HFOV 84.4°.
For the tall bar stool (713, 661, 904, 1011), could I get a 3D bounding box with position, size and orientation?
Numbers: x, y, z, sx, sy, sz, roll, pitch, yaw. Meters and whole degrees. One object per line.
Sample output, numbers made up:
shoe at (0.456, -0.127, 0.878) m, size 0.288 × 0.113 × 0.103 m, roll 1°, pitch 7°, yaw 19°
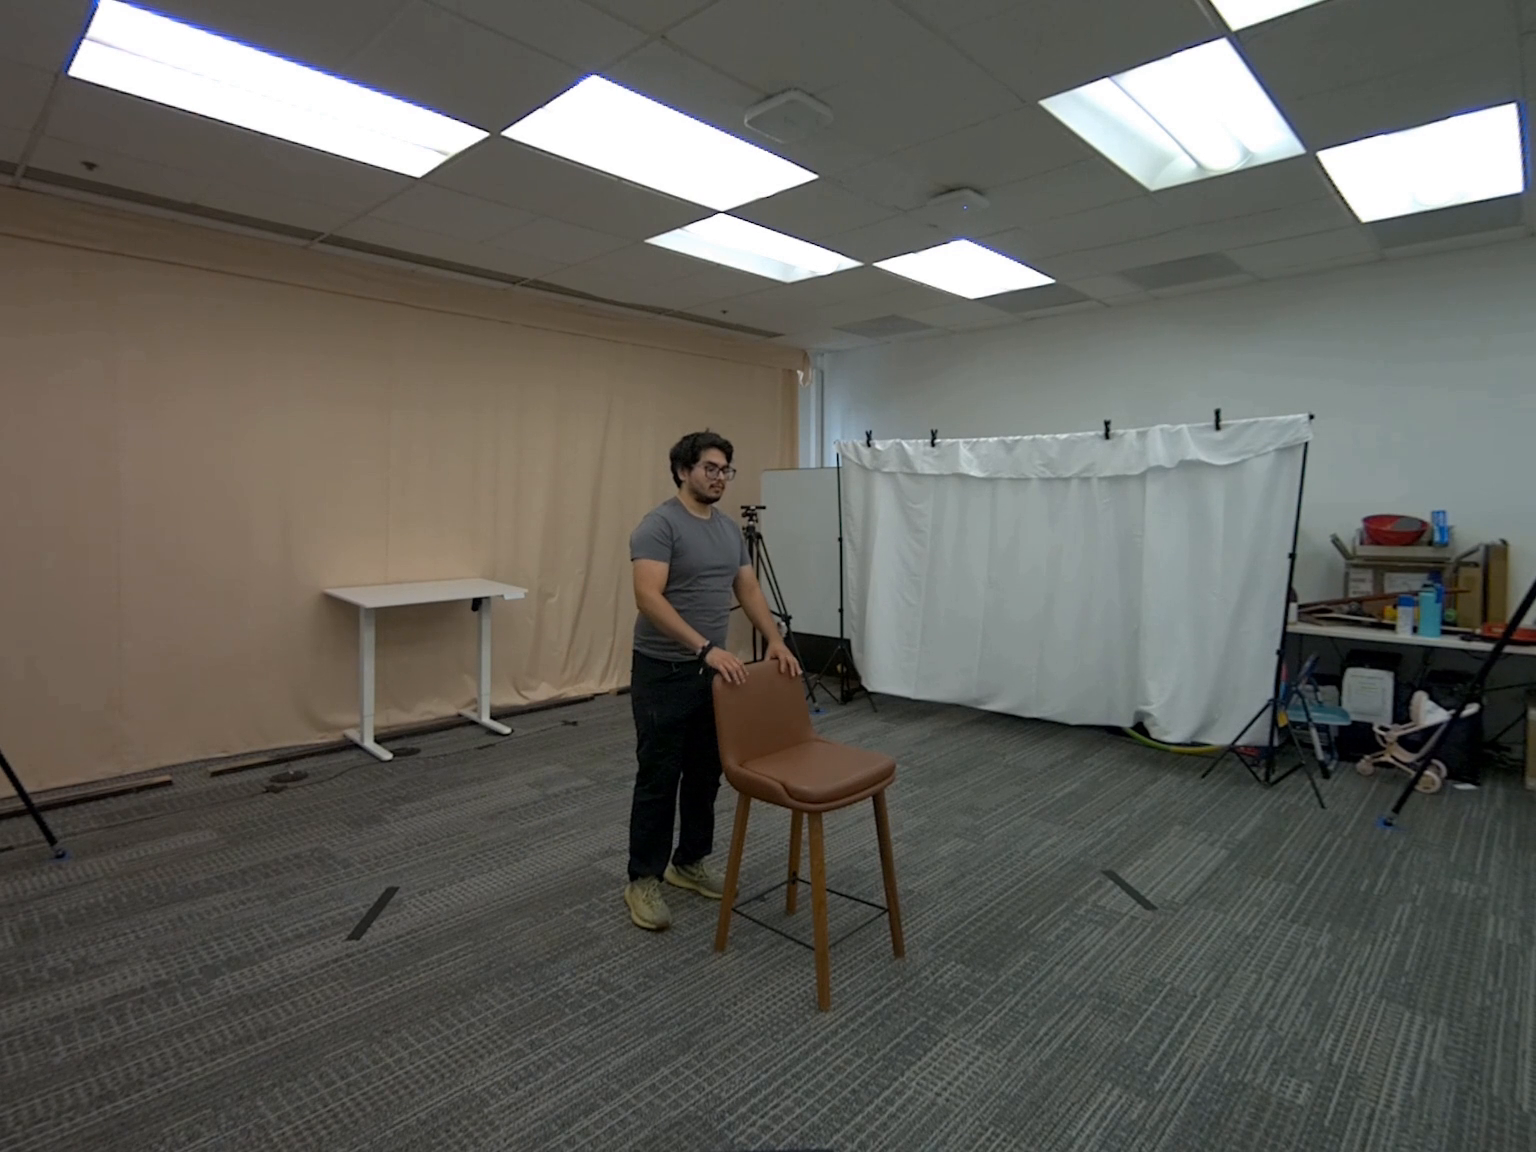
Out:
tall bar stool at (0.117, 0.738, 2.598) m, size 0.483 × 0.888 × 0.442 m, roll 0°, pitch 3°, yaw 43°
